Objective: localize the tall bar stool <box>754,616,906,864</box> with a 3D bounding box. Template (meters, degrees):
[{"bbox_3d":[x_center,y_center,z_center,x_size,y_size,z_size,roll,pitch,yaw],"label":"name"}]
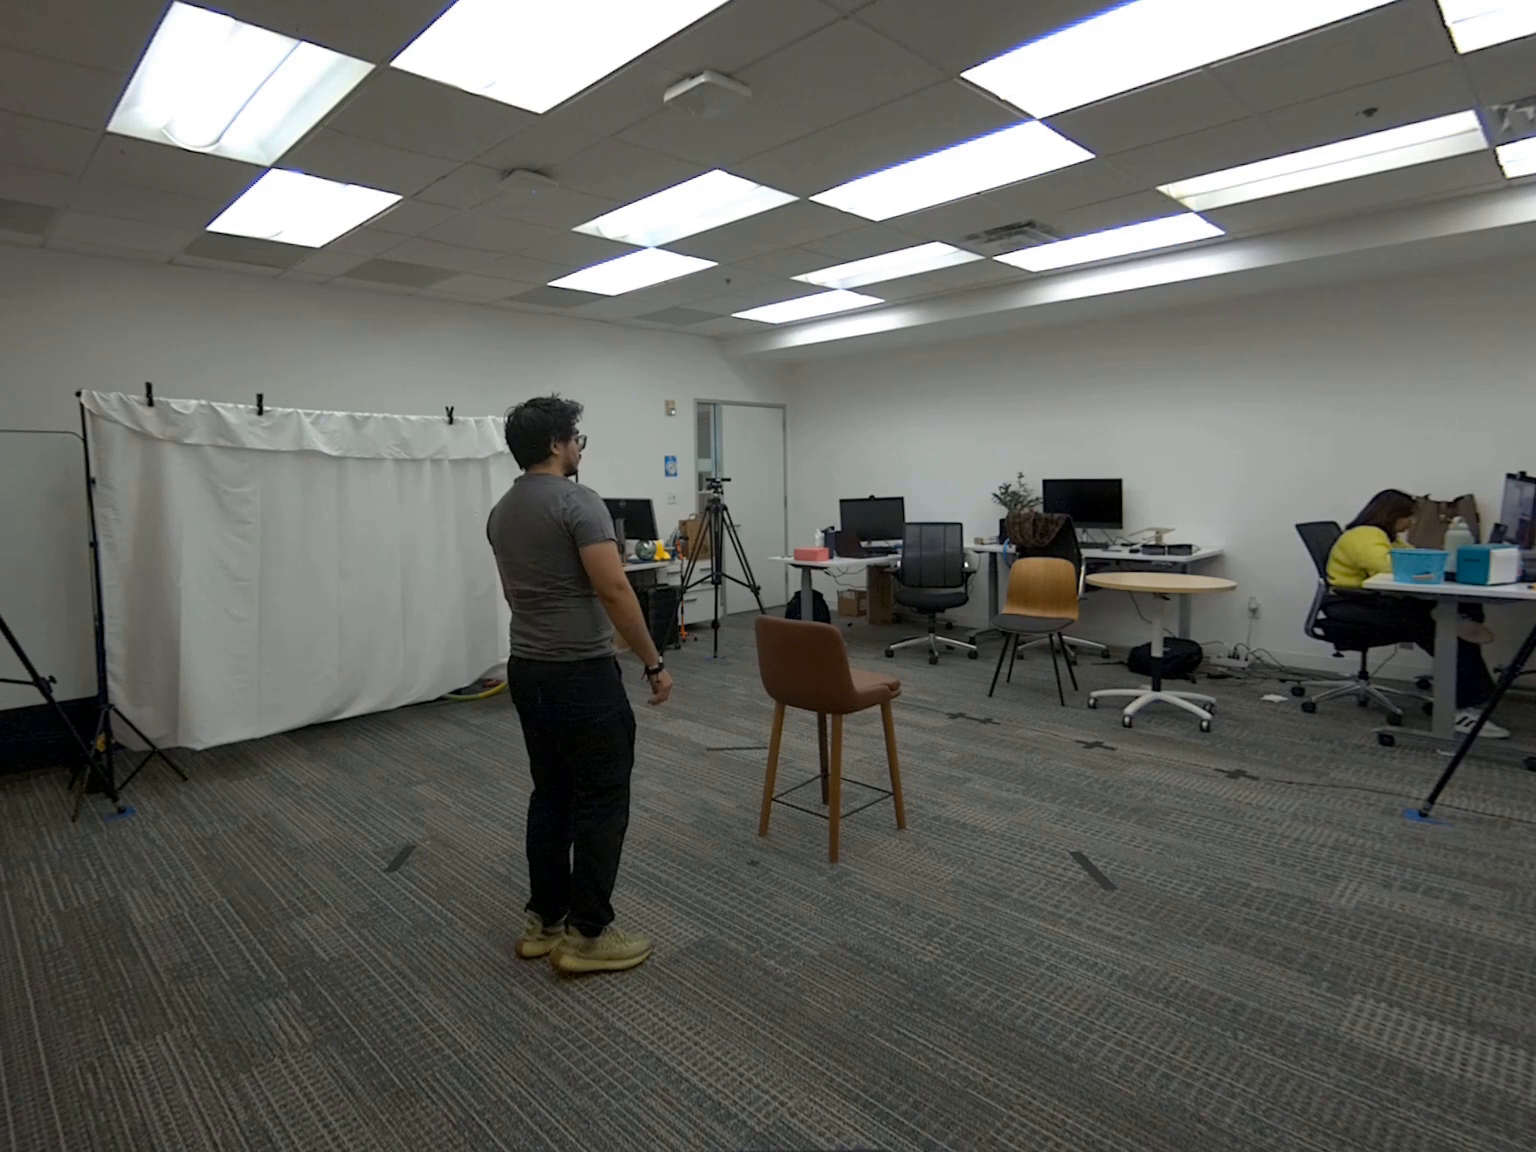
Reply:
[{"bbox_3d":[0.241,0.574,3.346,0.470,0.885,0.456,4,8,44],"label":"tall bar stool"}]
